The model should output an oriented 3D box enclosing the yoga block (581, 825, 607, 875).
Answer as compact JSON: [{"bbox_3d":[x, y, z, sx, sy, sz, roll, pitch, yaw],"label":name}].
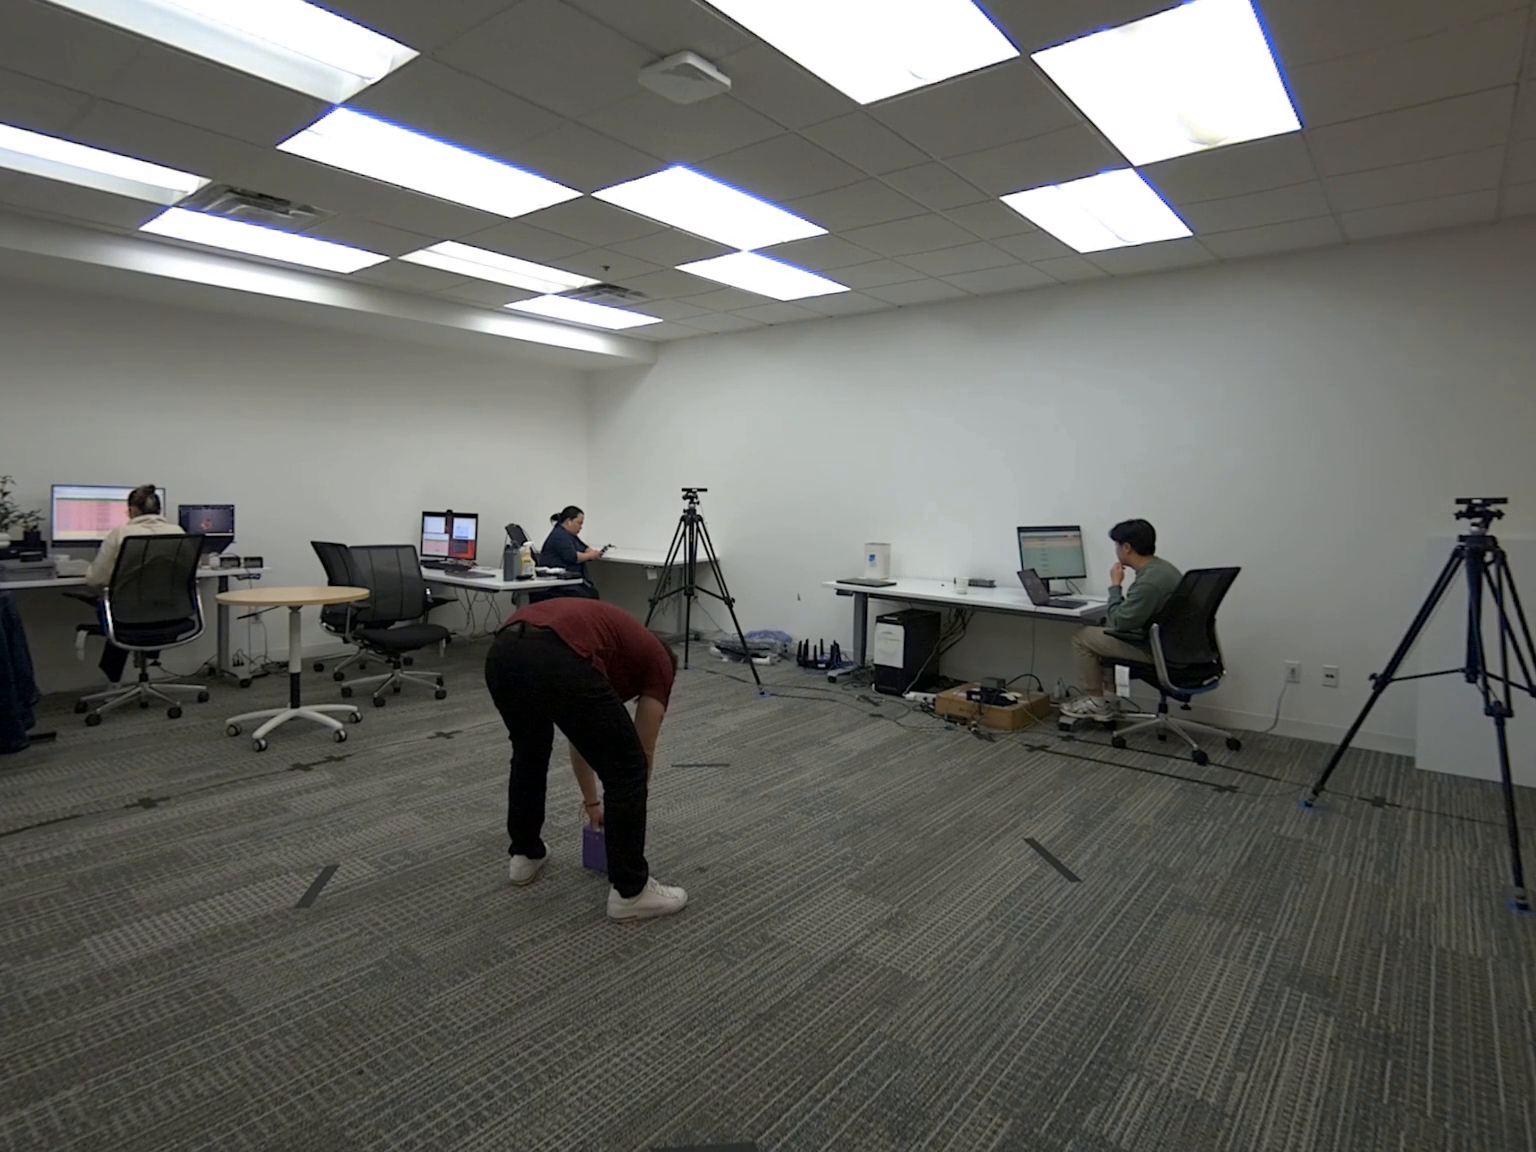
[{"bbox_3d":[-0.580,0.995,3.079,0.236,0.148,0.075,3,8,28],"label":"yoga block"}]
